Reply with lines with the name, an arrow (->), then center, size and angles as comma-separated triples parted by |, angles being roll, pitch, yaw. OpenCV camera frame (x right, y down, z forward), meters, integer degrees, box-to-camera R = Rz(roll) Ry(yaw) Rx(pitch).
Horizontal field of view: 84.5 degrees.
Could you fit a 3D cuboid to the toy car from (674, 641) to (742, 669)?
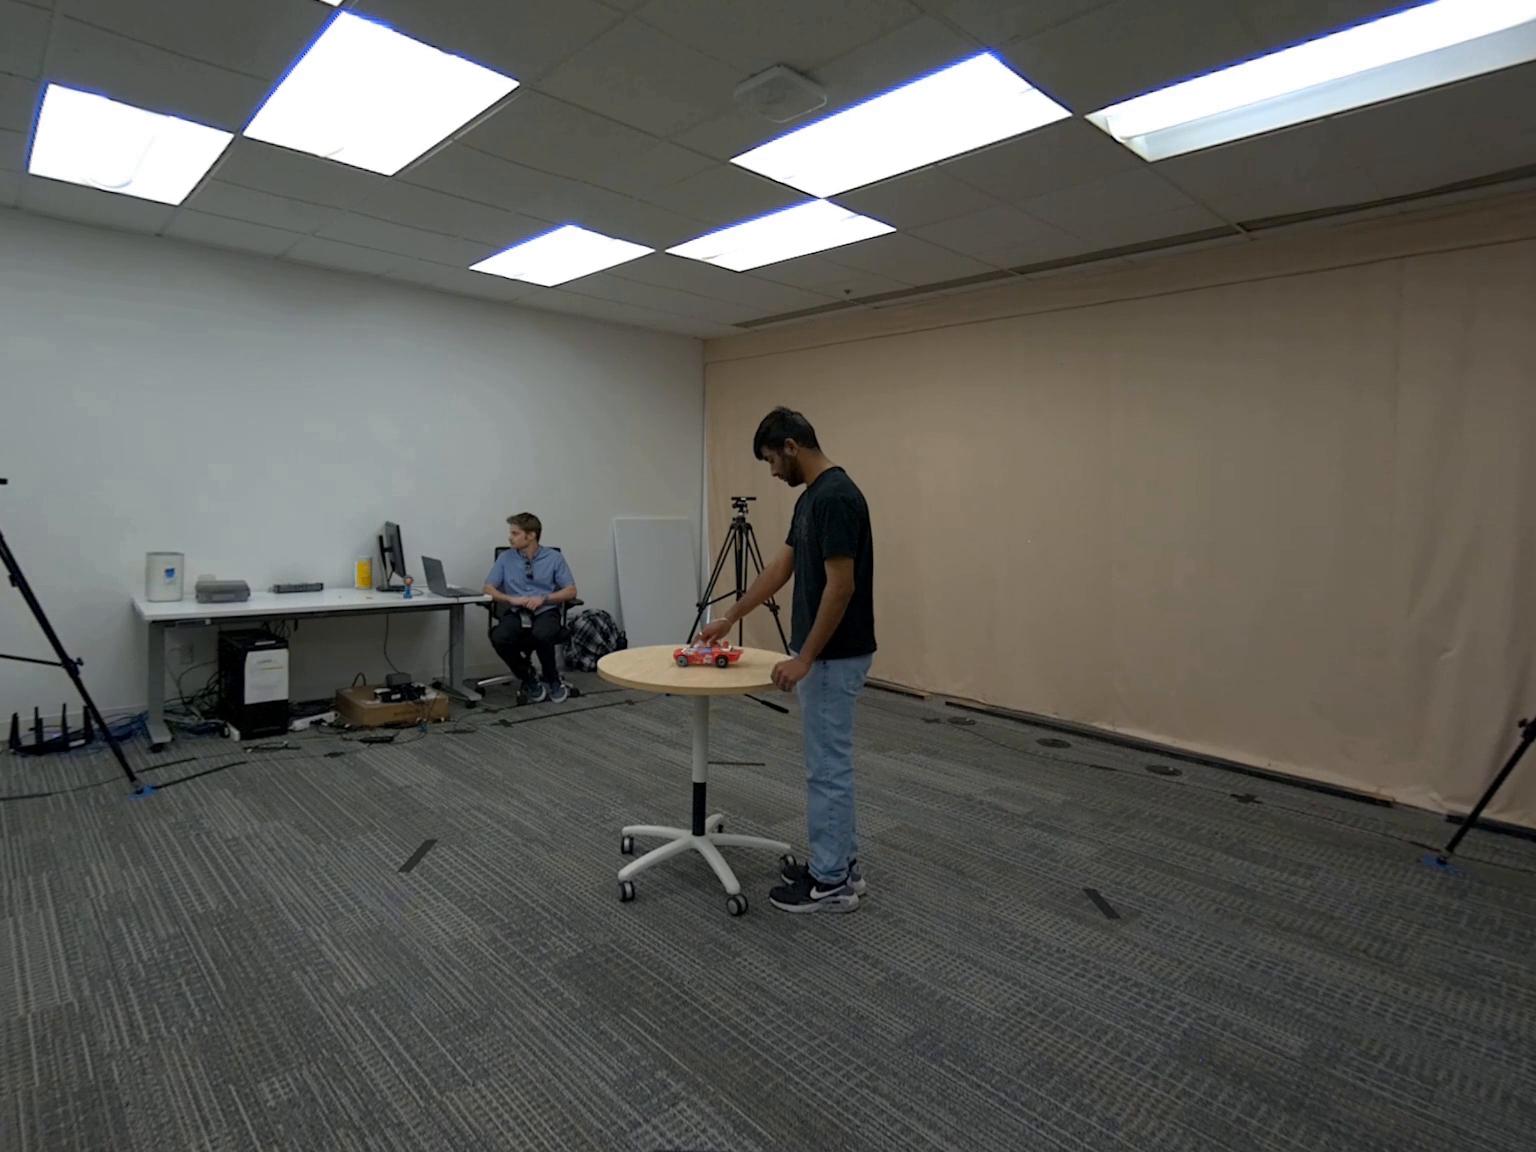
toy car -> -0.214, 0.292, 3.070 | 0.255, 0.083, 0.130 | -10, 6, 5
